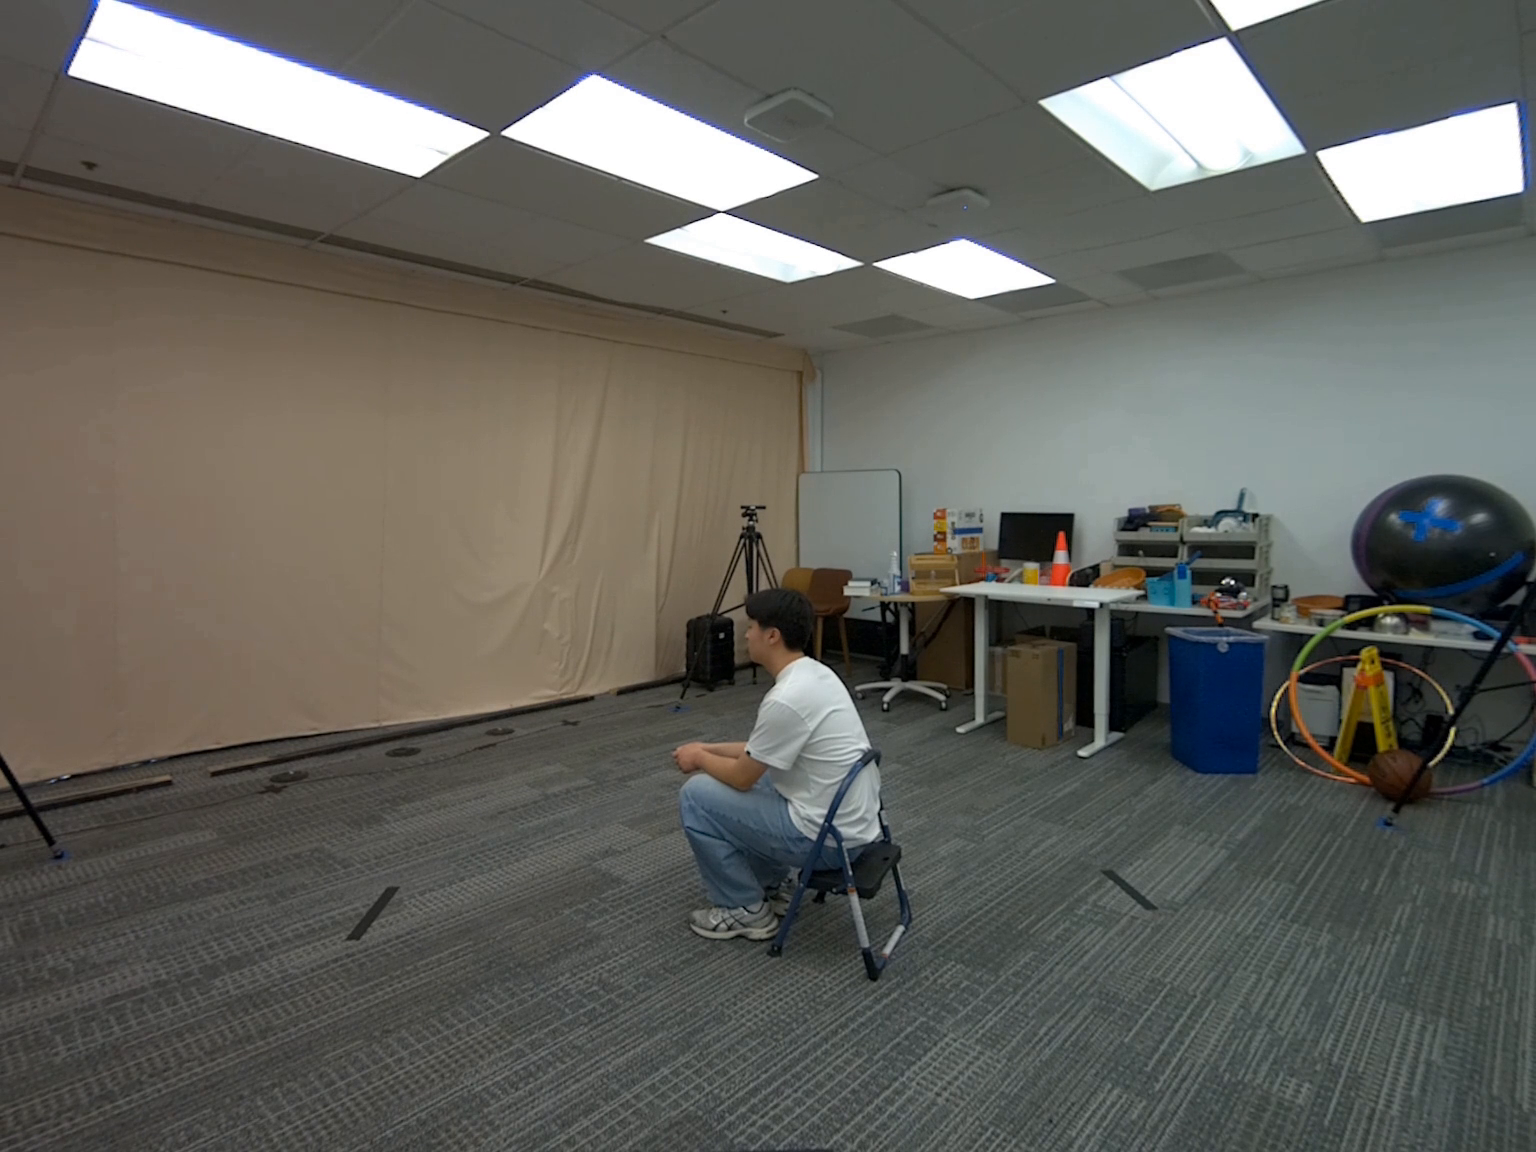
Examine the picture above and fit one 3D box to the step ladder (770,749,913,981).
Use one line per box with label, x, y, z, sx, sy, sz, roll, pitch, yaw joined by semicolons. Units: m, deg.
step ladder;0.251;0.869;2.694;0.358;0.604;0.420;2;5;26
